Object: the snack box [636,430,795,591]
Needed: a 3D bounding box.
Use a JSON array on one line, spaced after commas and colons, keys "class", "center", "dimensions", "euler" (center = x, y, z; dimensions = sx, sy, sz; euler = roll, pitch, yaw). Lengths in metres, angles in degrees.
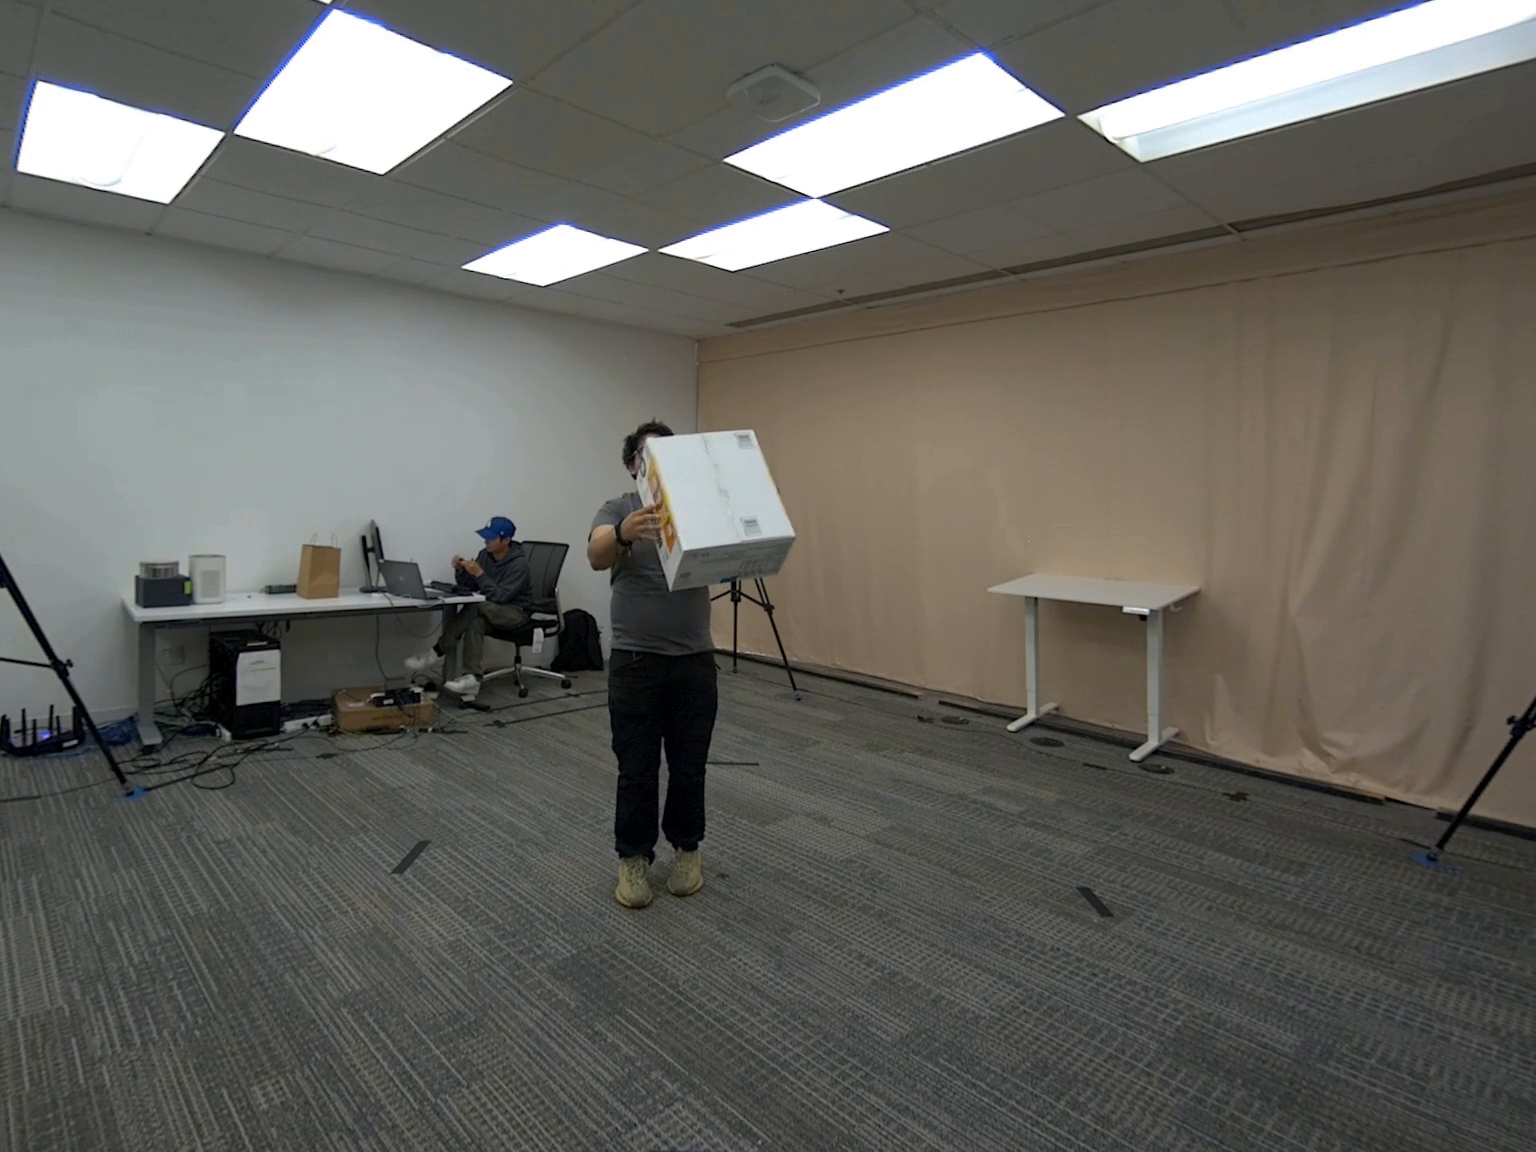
[{"class": "snack box", "center": [-0.167, -0.199, 2.457], "dimensions": [0.336, 0.415, 0.203], "euler": [-8, -32, -21]}]
